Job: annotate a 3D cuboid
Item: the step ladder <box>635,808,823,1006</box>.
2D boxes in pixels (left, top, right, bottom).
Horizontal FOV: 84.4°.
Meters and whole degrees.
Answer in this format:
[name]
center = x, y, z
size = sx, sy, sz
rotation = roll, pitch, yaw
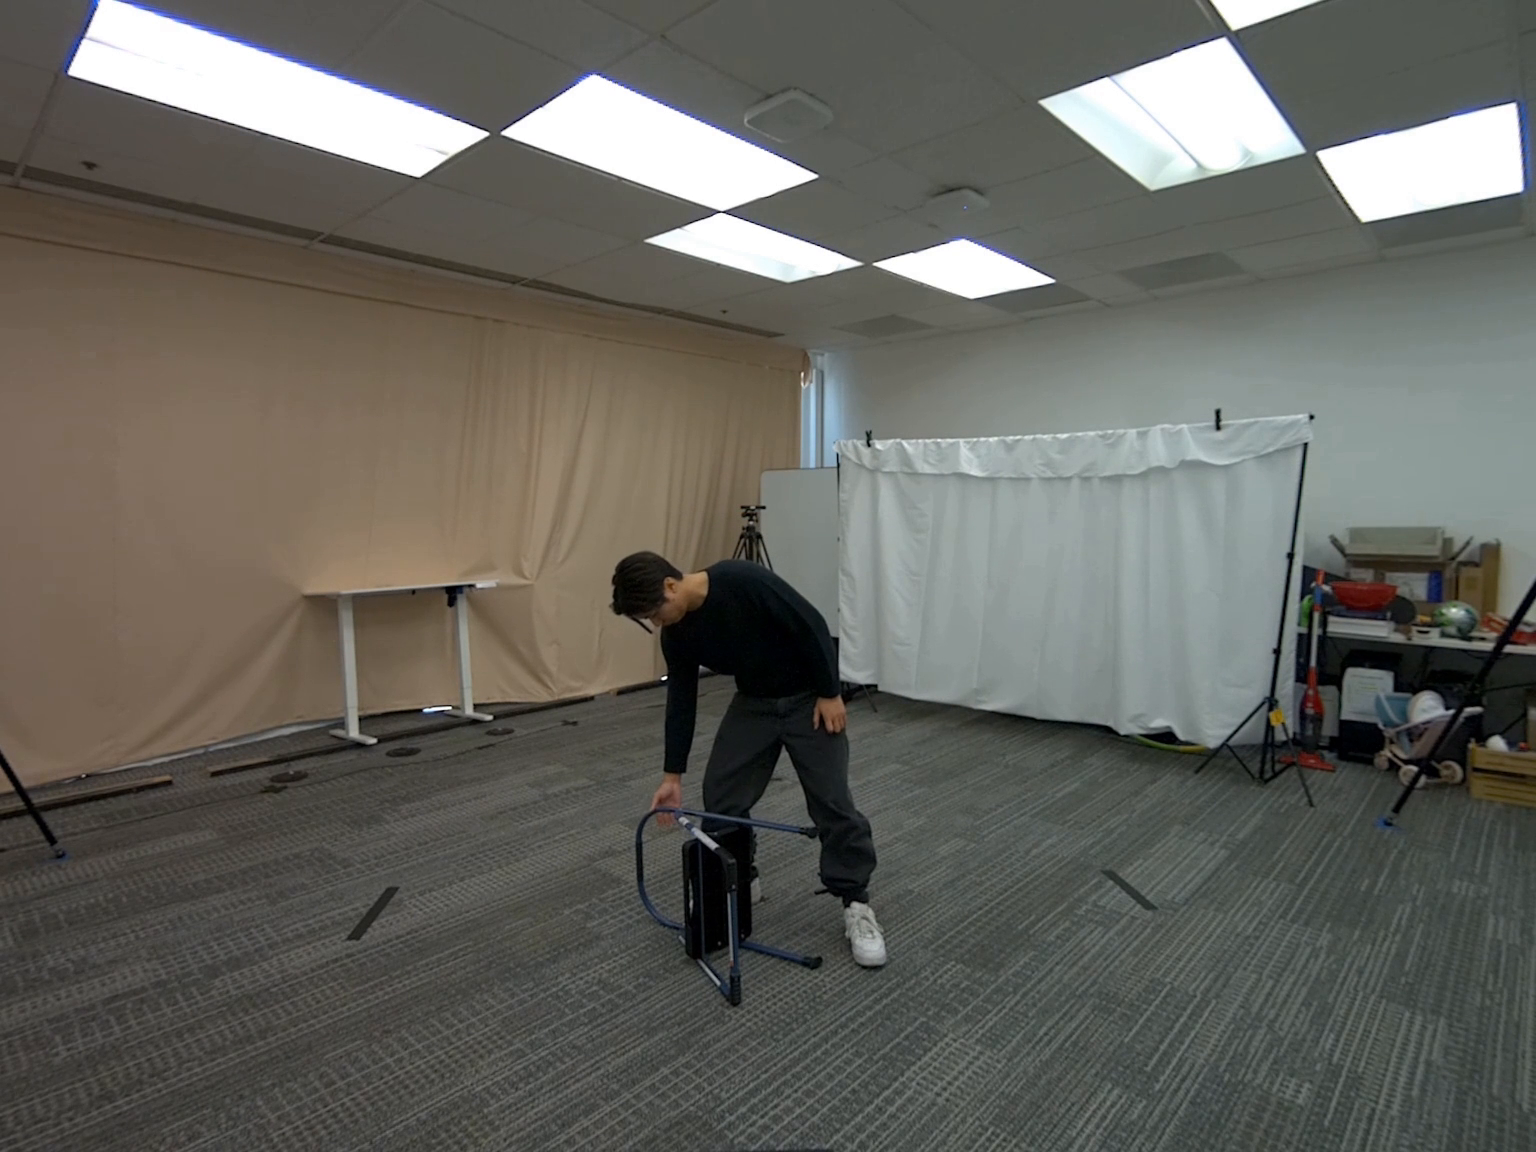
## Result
[step ladder]
center = -0.173, 0.963, 2.654
size = 0.338, 0.430, 0.626
rotation = -3, 4, -42
